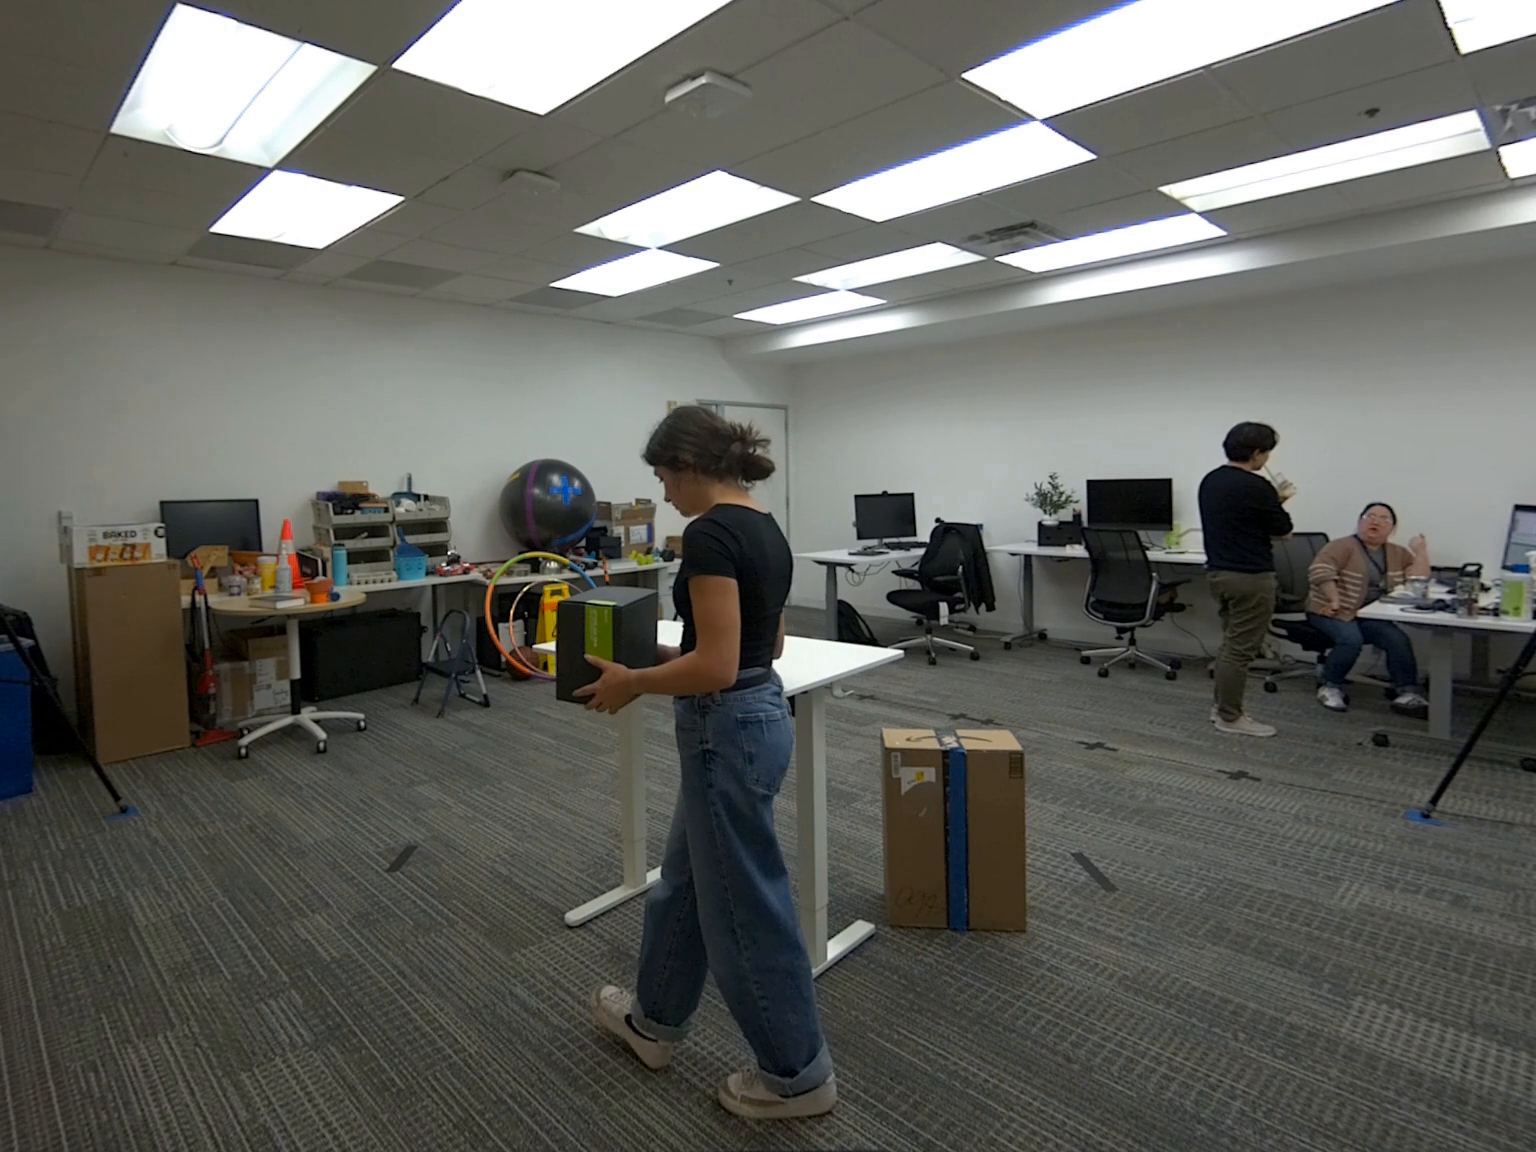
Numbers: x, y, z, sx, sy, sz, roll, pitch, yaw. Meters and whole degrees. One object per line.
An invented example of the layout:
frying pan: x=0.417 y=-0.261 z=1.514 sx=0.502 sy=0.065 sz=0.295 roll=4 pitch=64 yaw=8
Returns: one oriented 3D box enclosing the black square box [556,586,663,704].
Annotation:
black square box: x=-0.348 y=0.155 z=1.933 sx=0.158 sy=0.226 sz=0.215 roll=3 pitch=8 yaw=13
